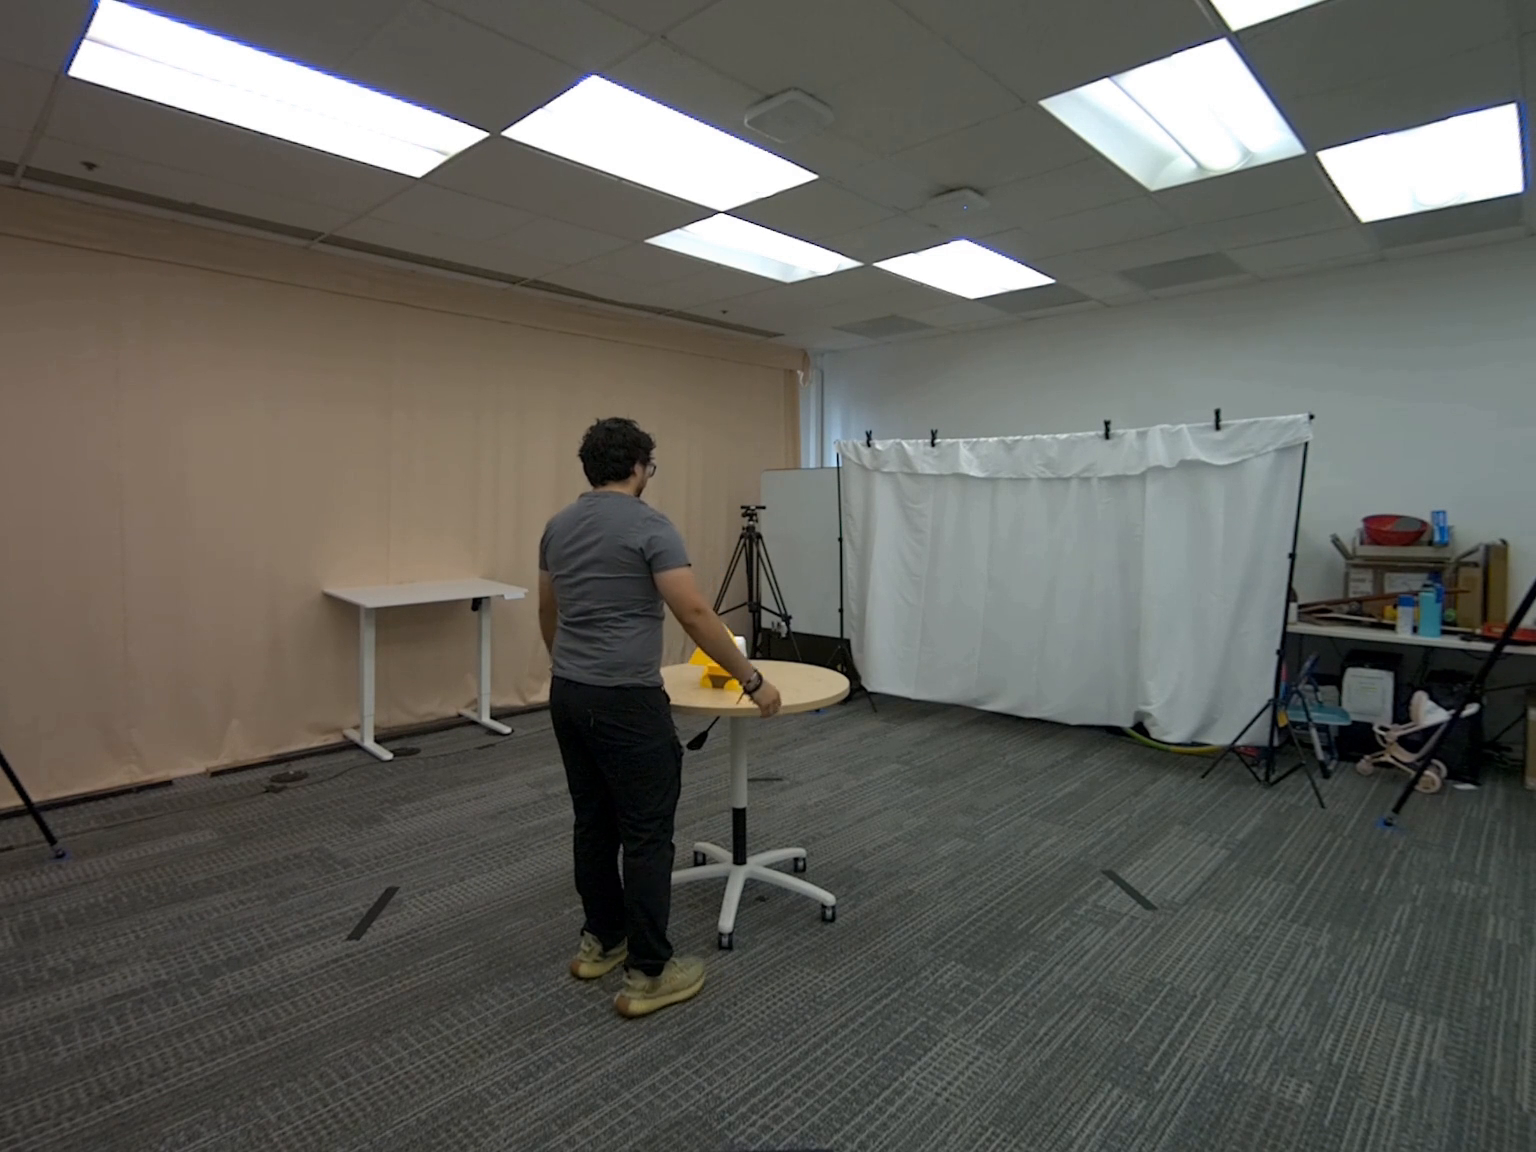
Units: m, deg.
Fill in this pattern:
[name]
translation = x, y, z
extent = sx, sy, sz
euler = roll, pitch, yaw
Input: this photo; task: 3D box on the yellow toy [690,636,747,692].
[yellow toy]
translation = -0.133, 0.257, 2.862
extent = 0.210, 0.230, 0.188
euler = 1, 3, 28
